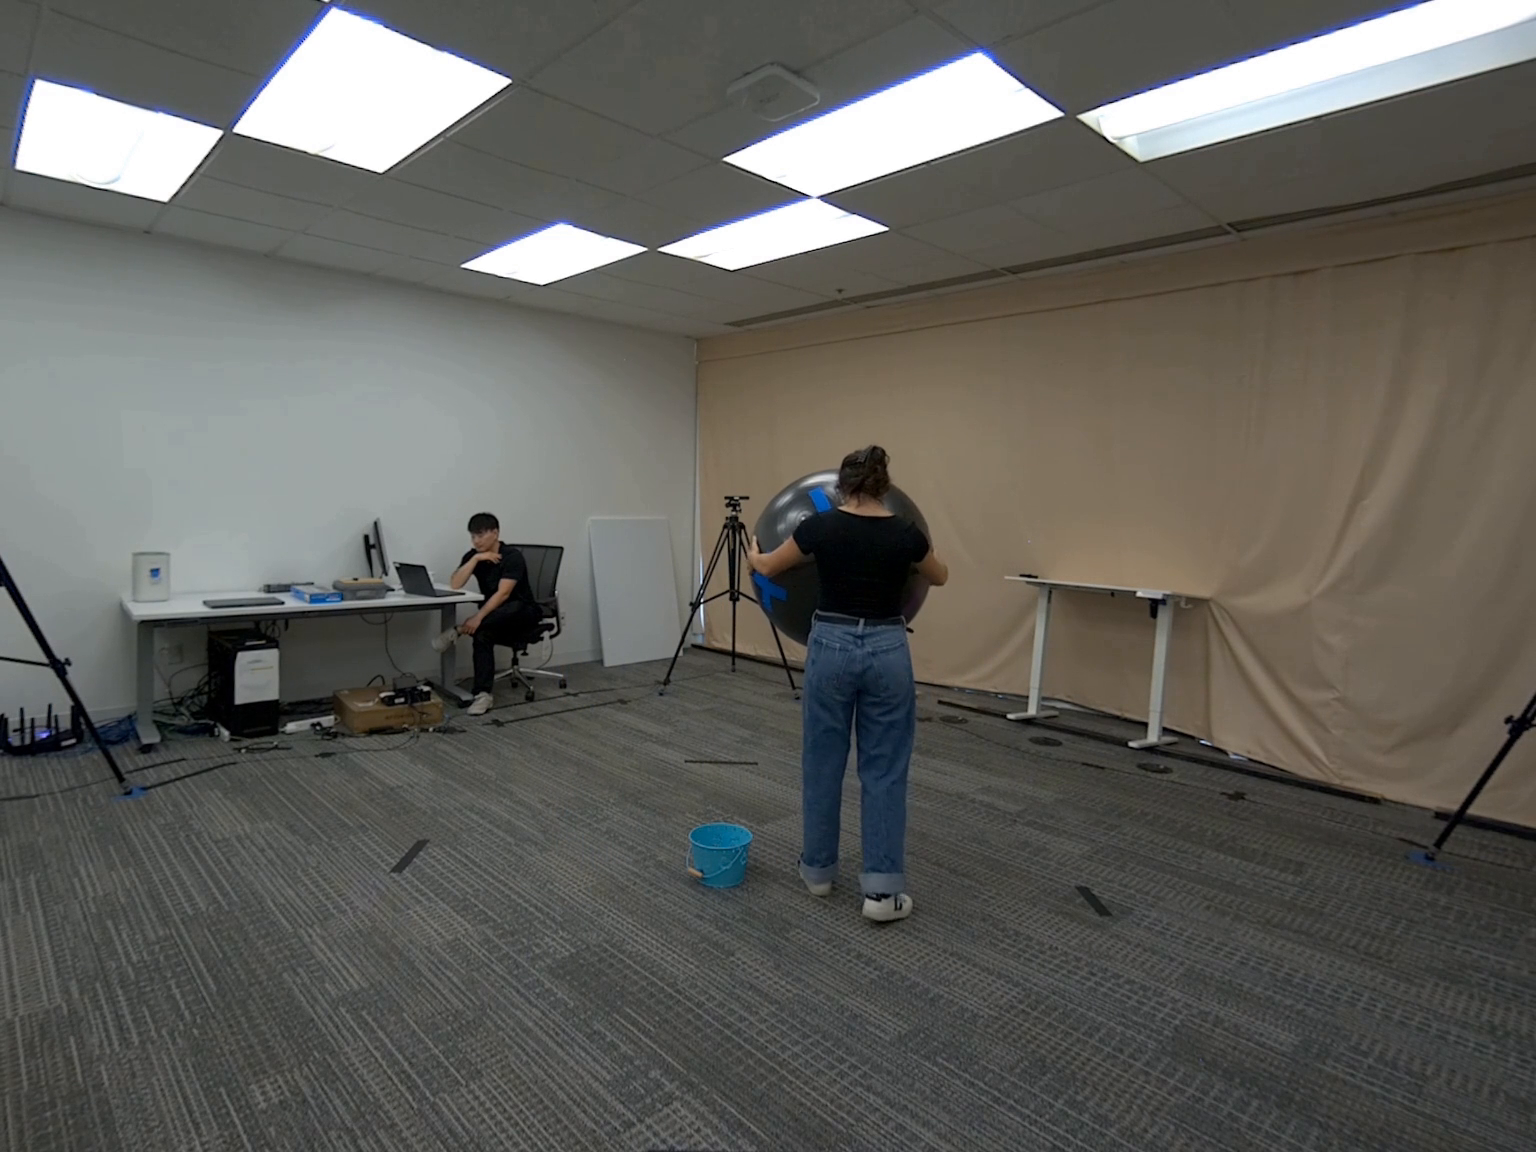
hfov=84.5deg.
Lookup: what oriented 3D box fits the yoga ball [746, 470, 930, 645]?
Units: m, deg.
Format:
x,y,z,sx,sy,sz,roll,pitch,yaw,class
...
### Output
x,y,z,sx,sy,sz,roll,pitch,yaw,class
0.298,-0.055,3.475,0.757,0.756,0.760,1,4,-1,yoga ball
